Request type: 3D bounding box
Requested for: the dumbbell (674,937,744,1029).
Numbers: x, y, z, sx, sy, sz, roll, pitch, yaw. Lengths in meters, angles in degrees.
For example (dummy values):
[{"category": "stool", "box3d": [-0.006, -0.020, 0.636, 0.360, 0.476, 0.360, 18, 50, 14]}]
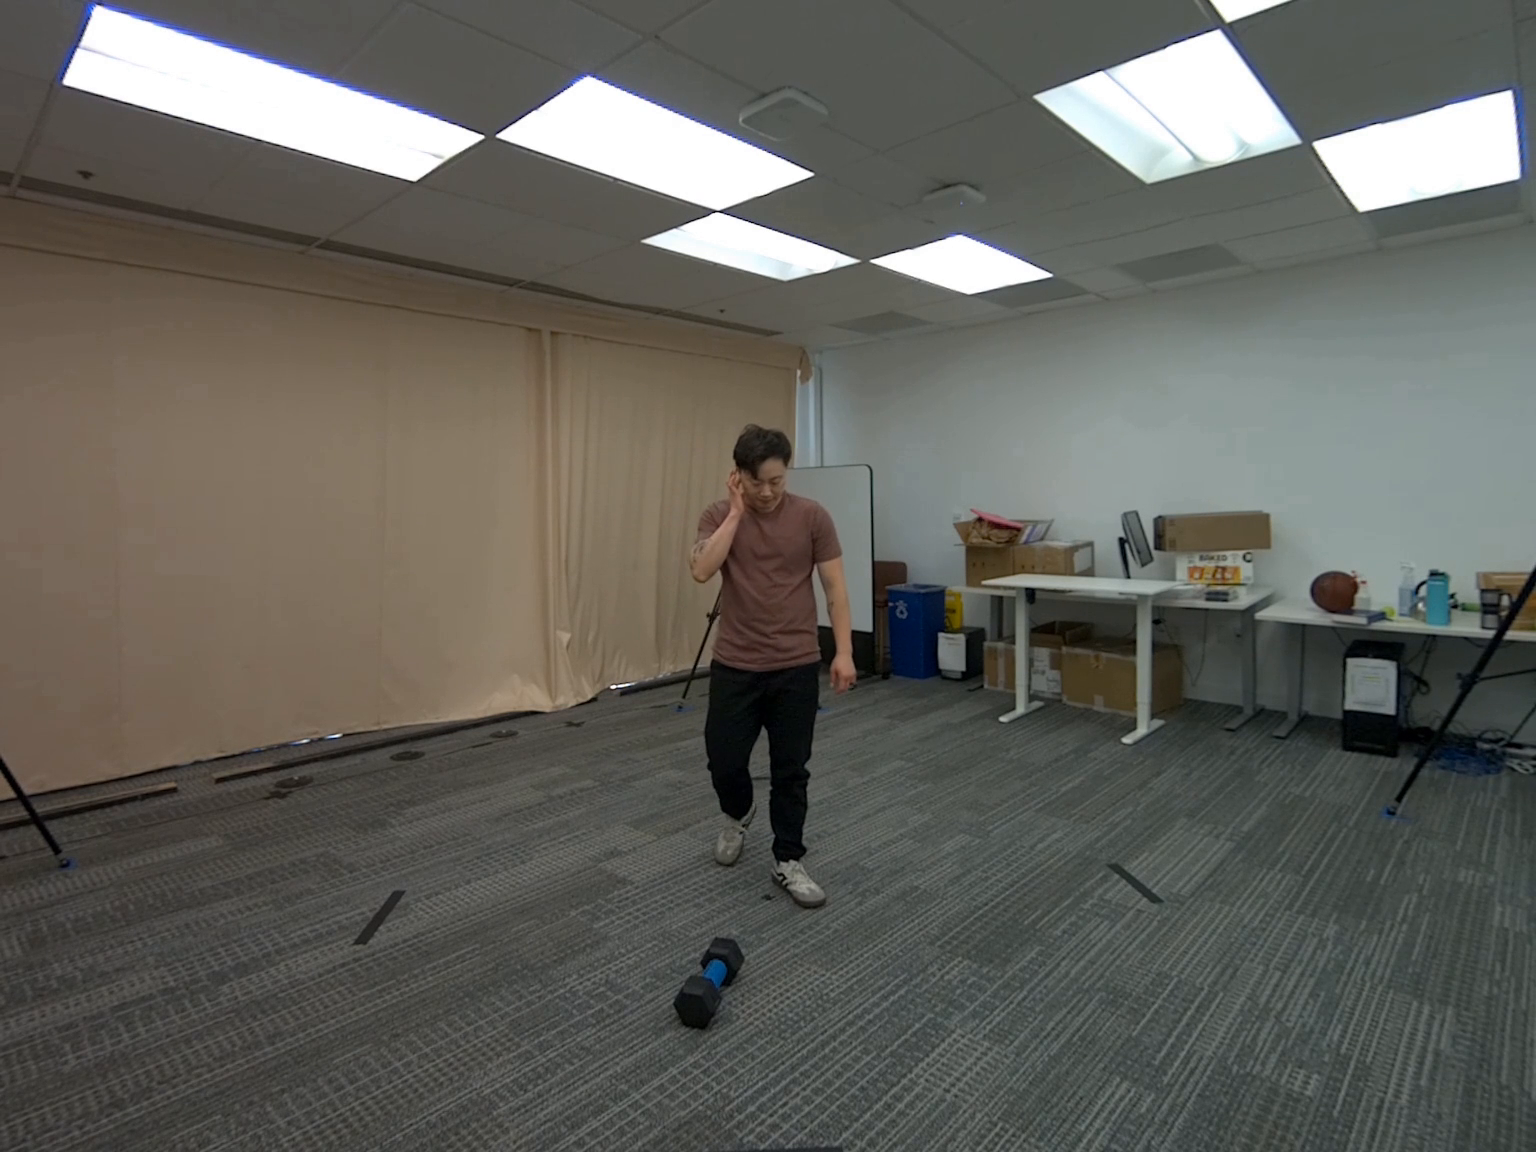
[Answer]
[{"category": "dumbbell", "box3d": [-0.159, 1.136, 2.374, 0.110, 0.123, 0.289, -30, -4, 16]}]
